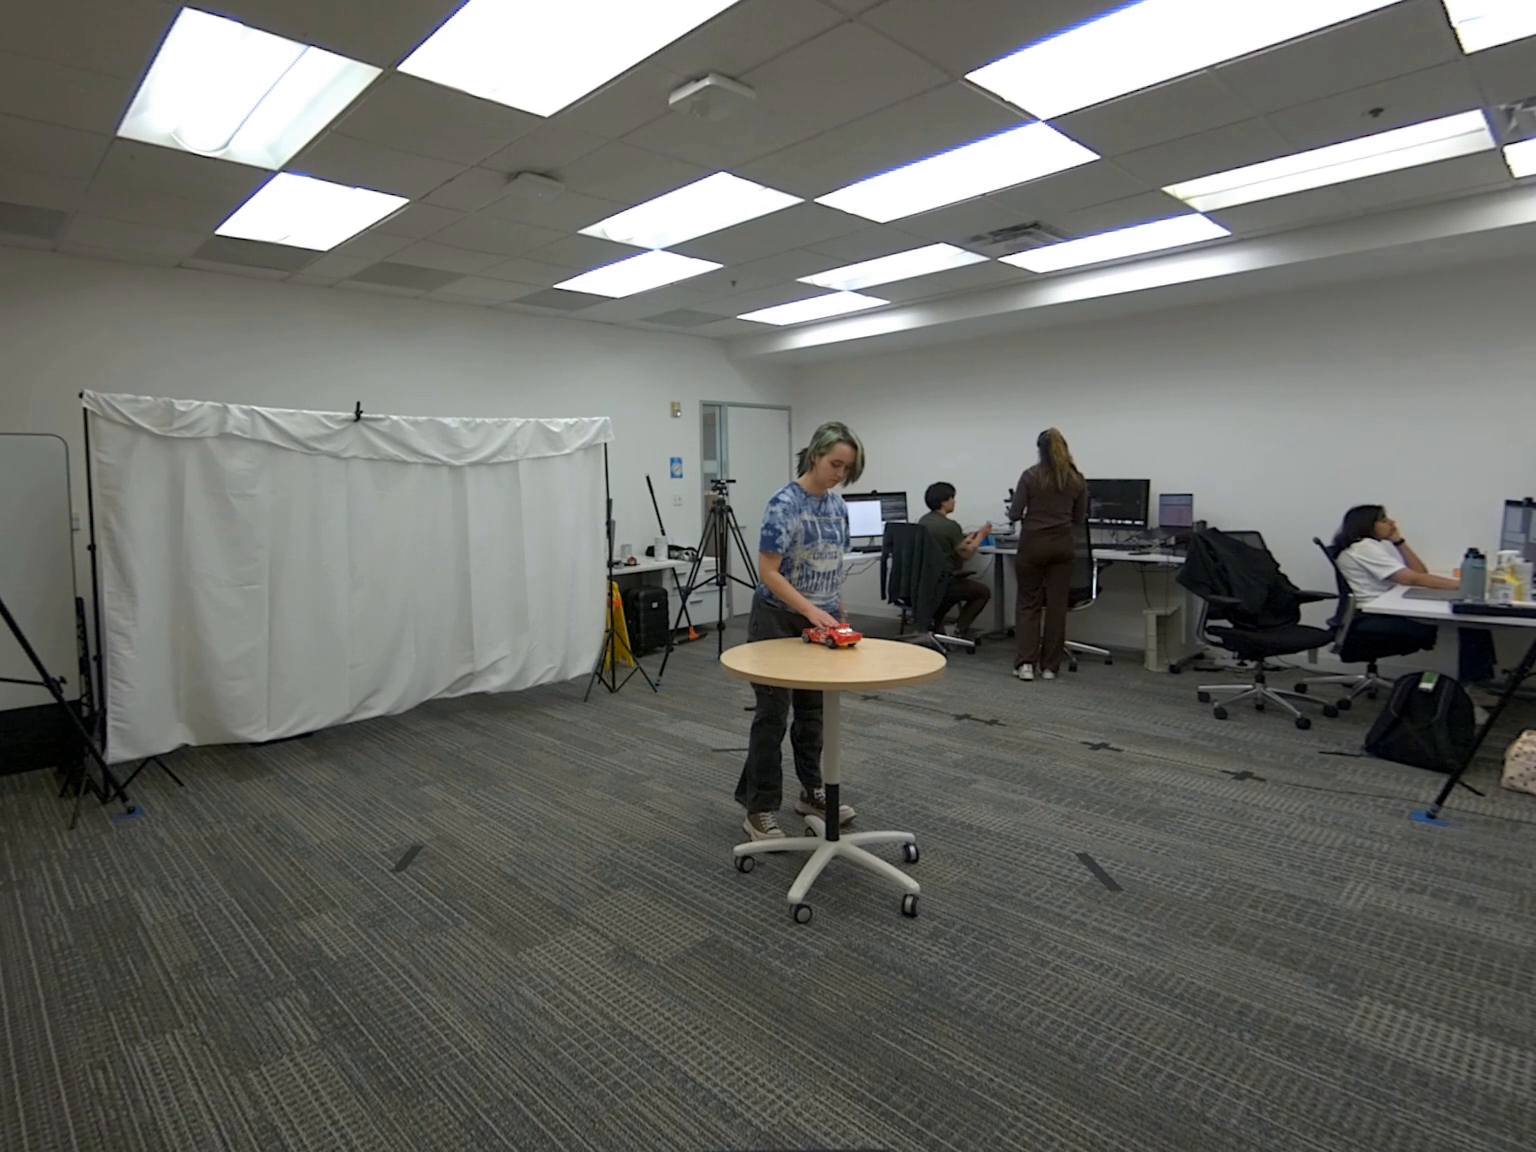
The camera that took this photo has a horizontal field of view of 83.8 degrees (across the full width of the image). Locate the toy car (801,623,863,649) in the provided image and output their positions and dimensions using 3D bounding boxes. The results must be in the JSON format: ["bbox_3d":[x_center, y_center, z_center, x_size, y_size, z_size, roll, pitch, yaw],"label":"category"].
[{"bbox_3d":[0.239,0.227,3.146,0.127,0.084,0.259,-3,-5,-34],"label":"toy car"}]
